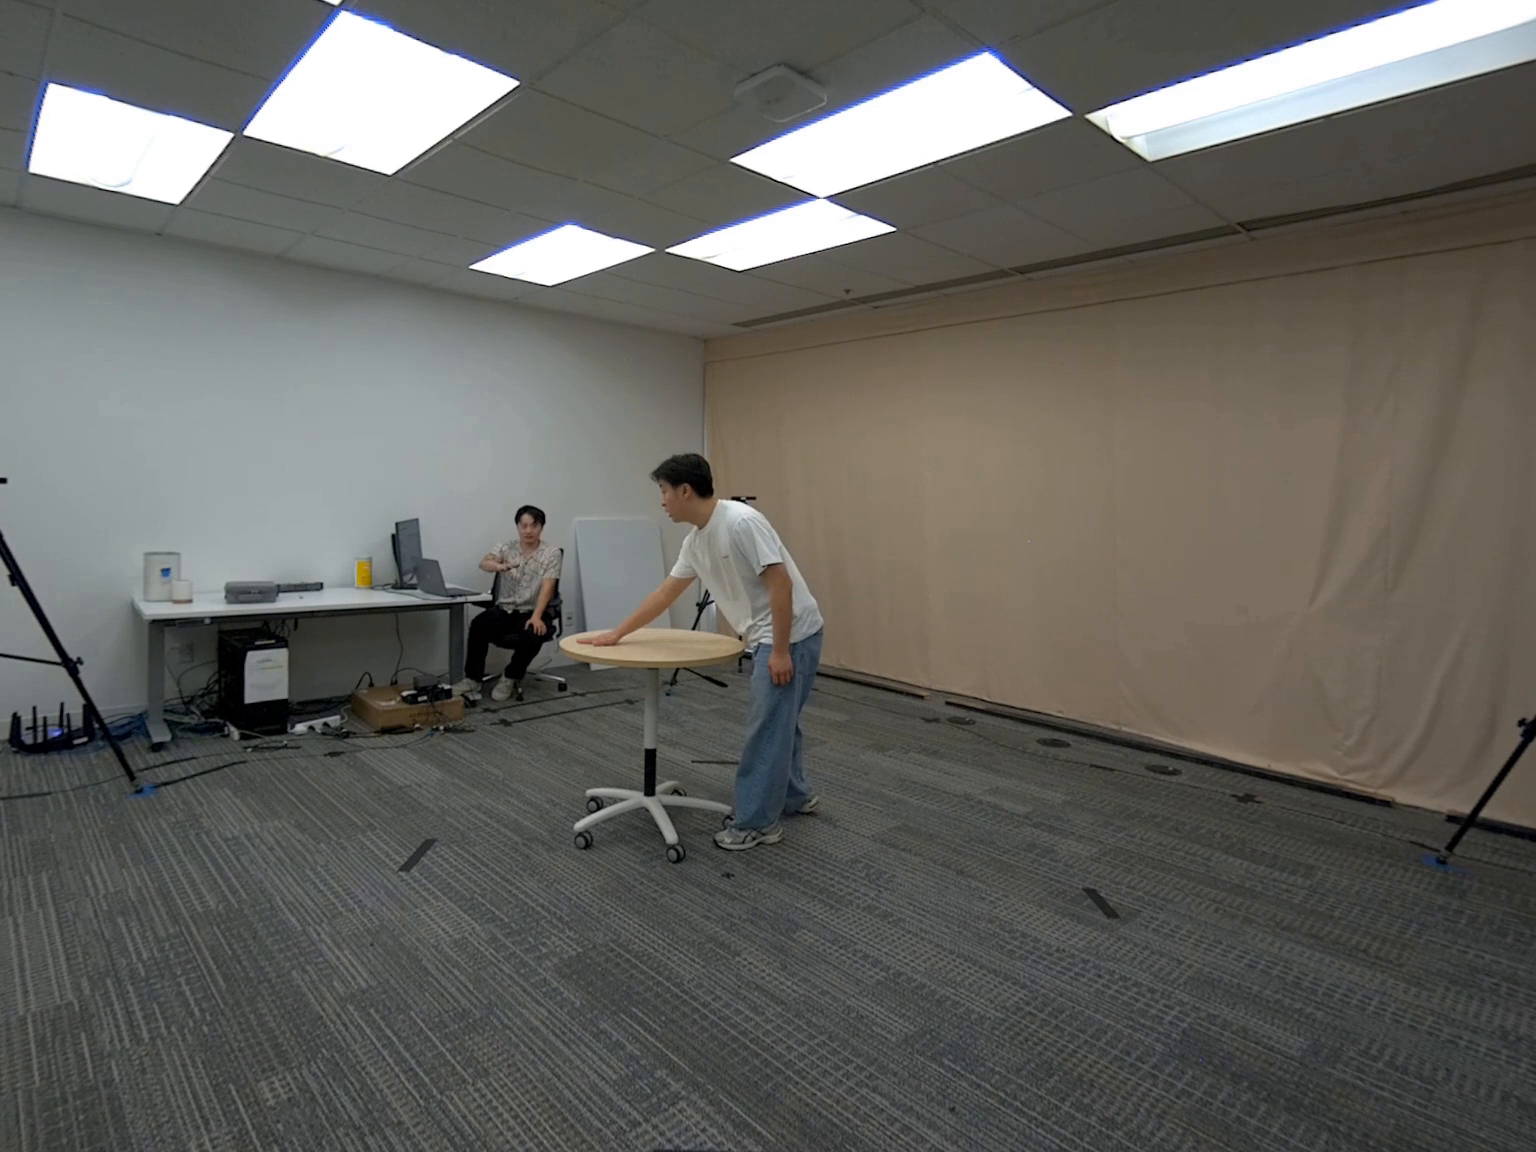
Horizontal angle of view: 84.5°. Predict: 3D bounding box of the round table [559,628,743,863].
[{"bbox_3d":[-0.496,0.669,3.508,0.763,0.792,0.766,1,4,-1],"label":"round table"}]
